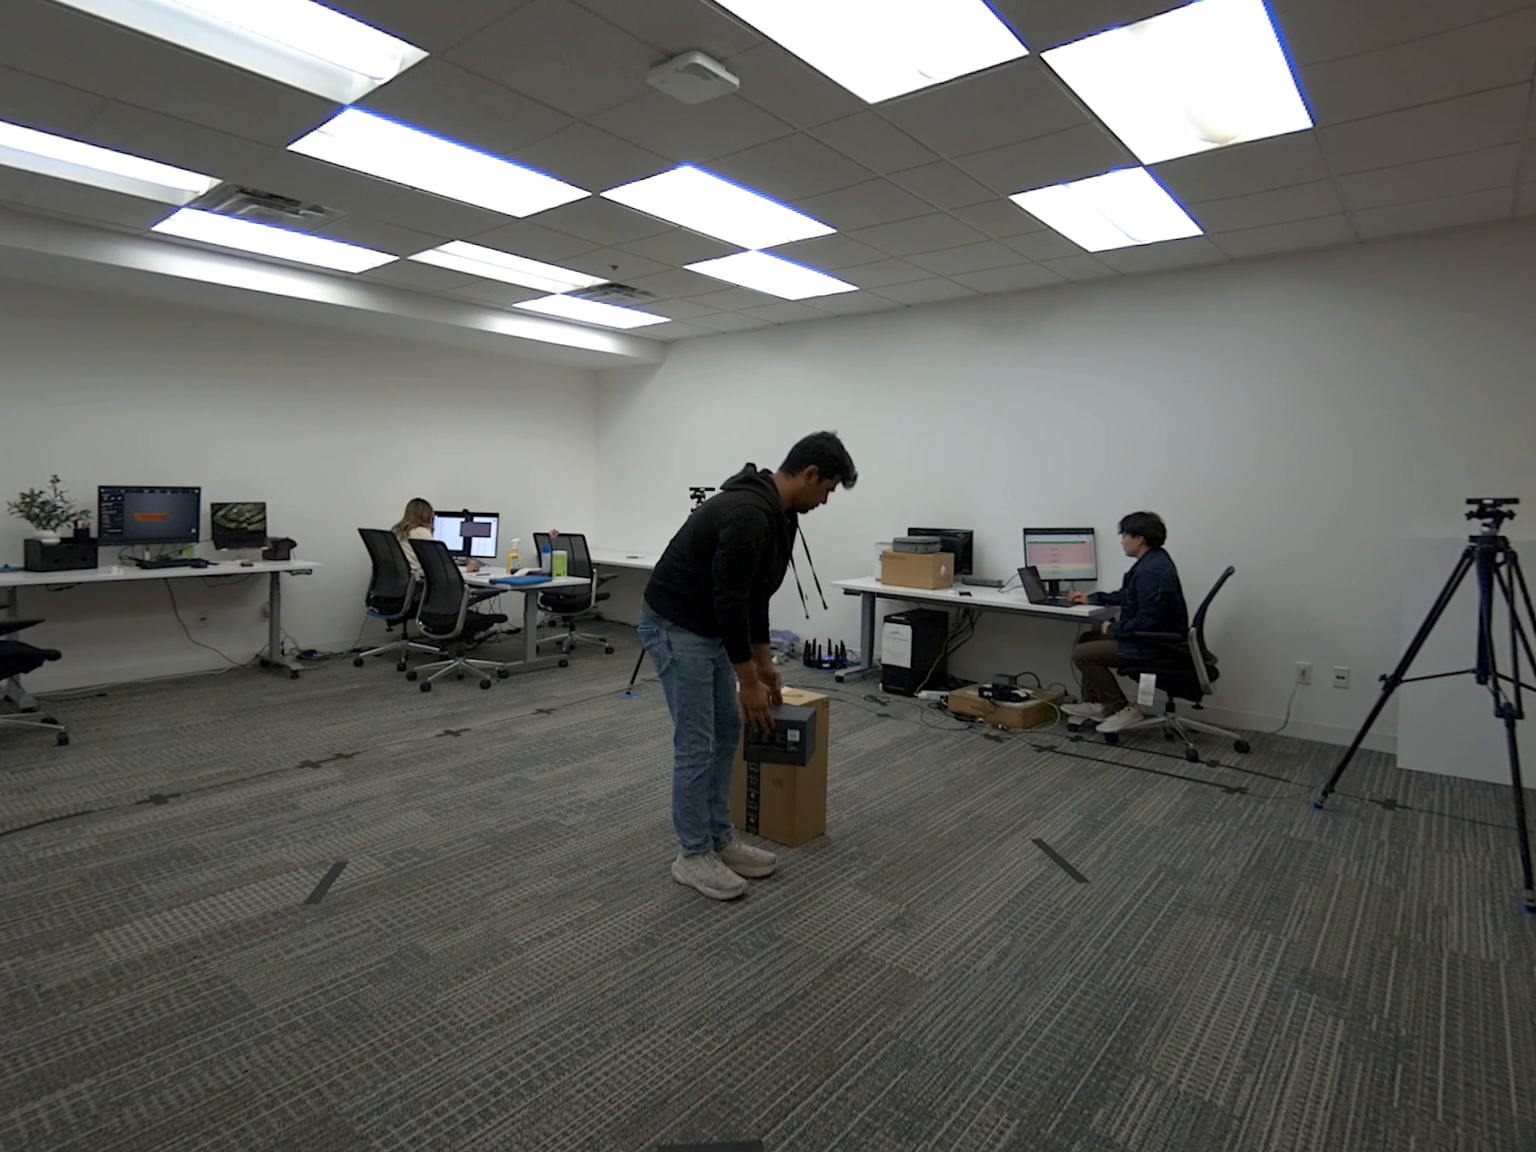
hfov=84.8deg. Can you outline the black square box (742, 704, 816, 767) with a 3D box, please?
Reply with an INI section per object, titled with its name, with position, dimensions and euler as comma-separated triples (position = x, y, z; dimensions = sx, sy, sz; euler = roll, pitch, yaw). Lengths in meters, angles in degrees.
[black square box]
position = 0.036, 0.554, 2.975
dimensions = 0.220, 0.156, 0.225
euler = 1, 2, 11
